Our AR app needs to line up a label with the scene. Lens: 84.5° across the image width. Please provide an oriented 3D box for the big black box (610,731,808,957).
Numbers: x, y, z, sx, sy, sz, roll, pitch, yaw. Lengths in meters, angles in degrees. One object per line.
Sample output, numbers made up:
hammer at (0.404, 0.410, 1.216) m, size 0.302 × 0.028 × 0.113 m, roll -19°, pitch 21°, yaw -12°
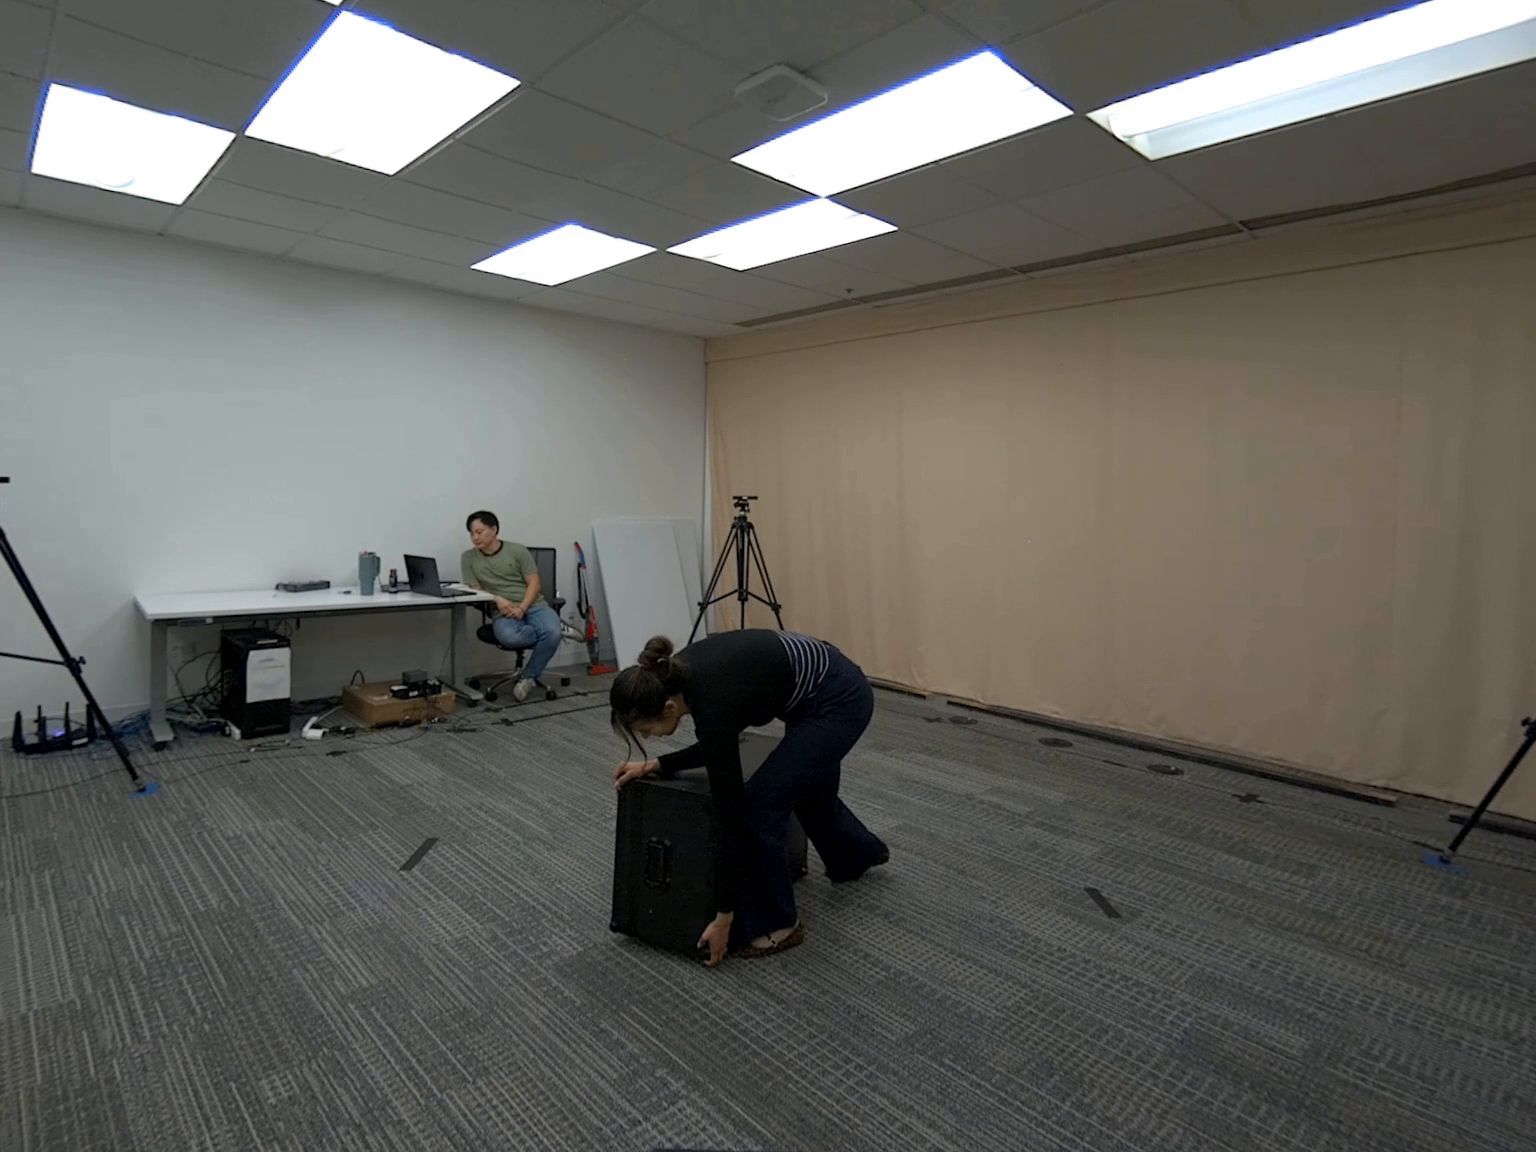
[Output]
big black box at (-0.140, 0.856, 2.895) m, size 0.404 × 0.520 × 0.846 m, roll 3°, pitch 3°, yaw 24°
